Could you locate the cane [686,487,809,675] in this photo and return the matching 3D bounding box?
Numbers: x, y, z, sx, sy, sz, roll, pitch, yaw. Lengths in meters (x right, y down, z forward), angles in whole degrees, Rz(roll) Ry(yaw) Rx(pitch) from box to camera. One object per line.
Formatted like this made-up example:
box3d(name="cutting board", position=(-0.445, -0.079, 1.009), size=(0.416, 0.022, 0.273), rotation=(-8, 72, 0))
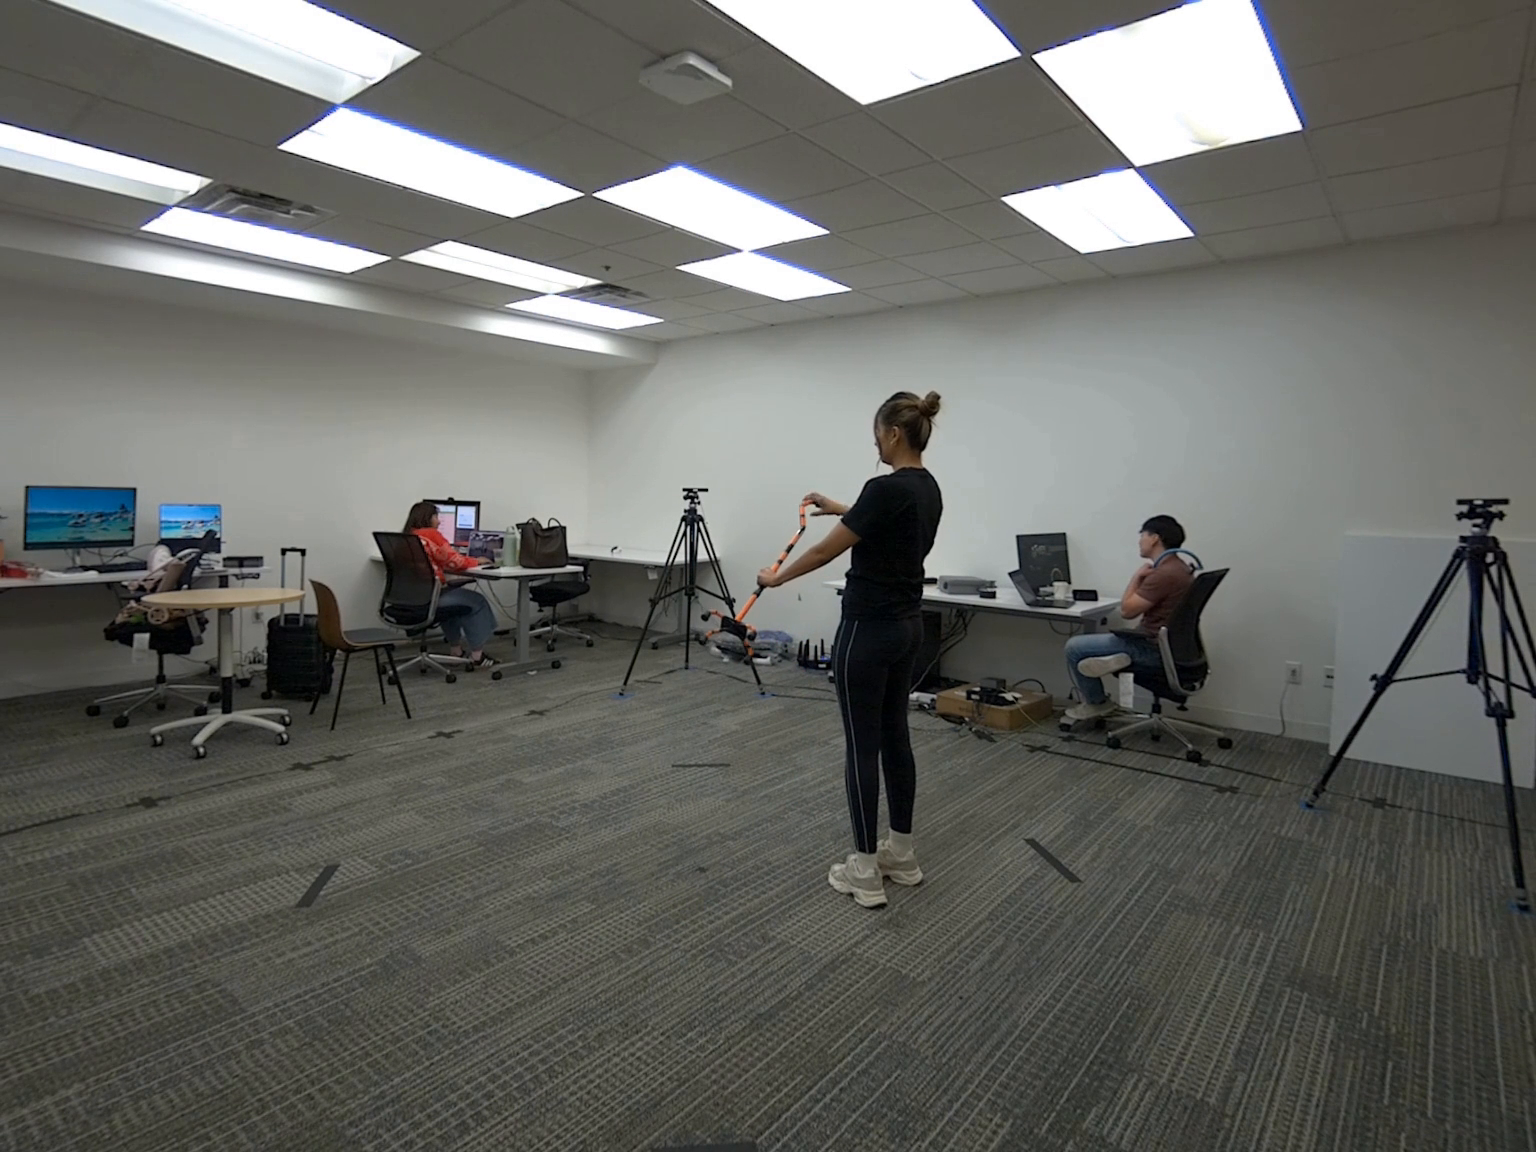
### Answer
box3d(name="cane", position=(0.032, -0.043, 3.244), size=(0.211, 0.148, 0.911), rotation=(22, 45, 15))
